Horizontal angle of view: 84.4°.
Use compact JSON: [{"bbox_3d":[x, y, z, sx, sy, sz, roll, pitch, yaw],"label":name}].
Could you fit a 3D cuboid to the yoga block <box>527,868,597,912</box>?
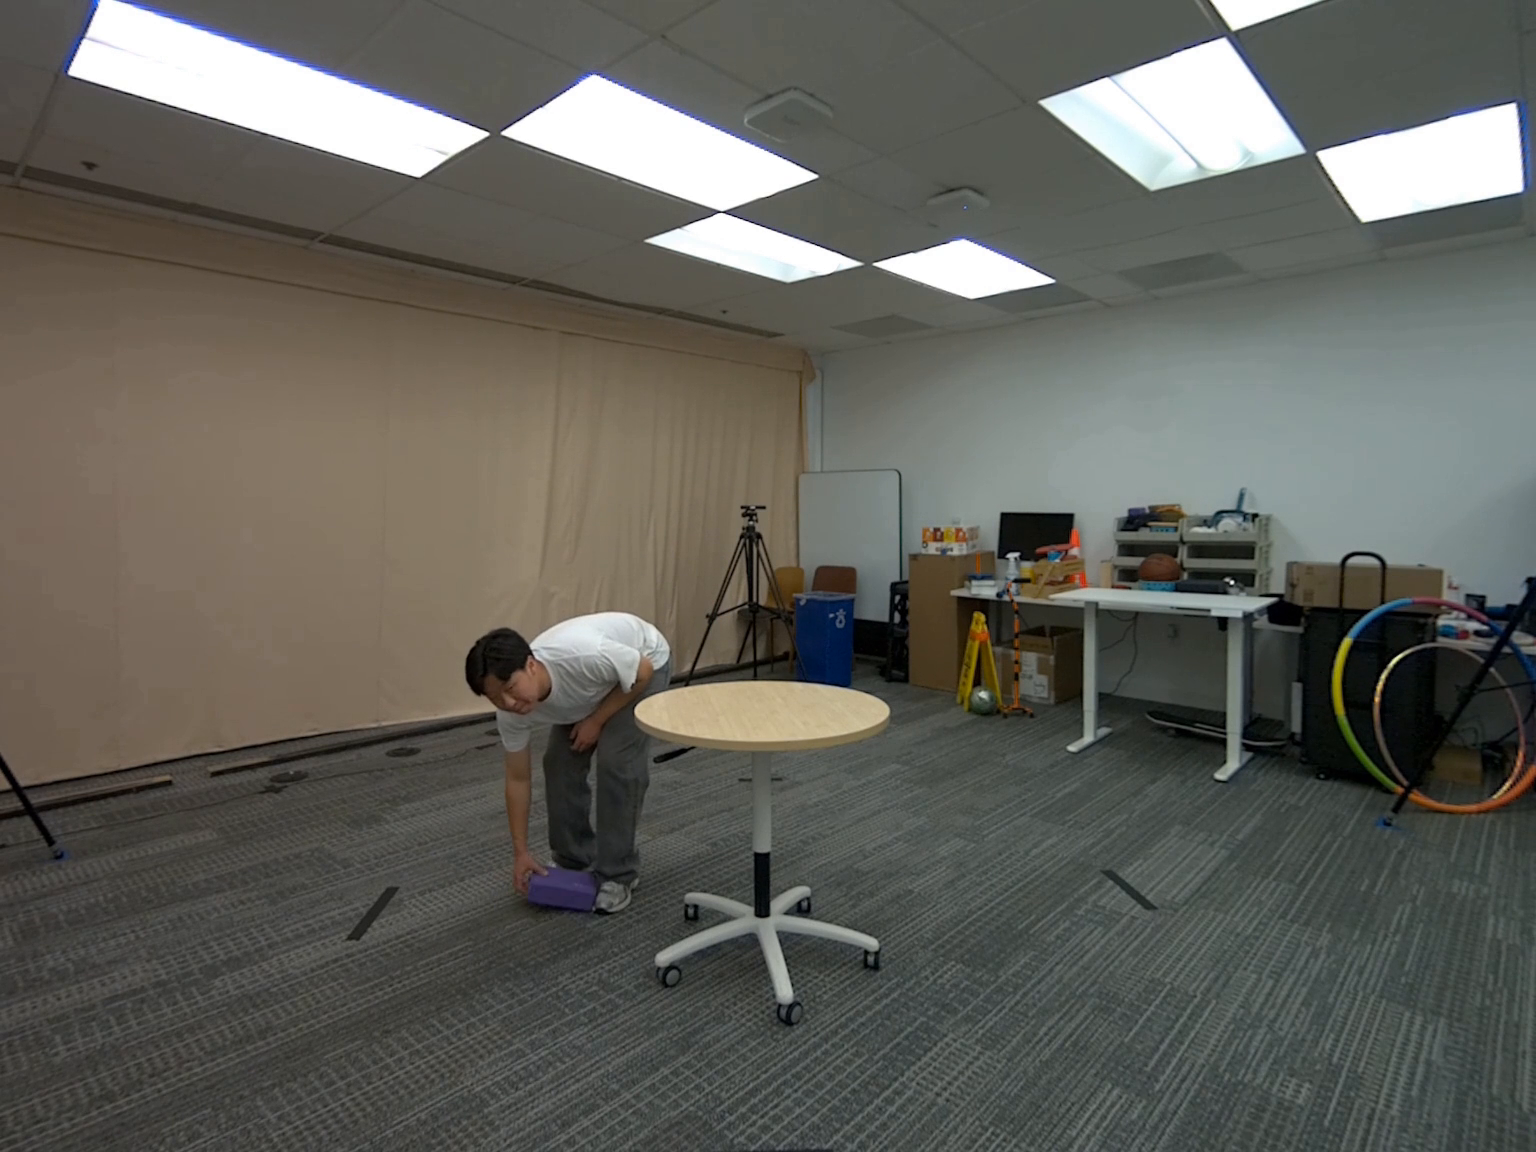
[{"bbox_3d":[-0.722,1.090,2.947,0.228,0.076,0.149,9,0,-4],"label":"yoga block"}]
